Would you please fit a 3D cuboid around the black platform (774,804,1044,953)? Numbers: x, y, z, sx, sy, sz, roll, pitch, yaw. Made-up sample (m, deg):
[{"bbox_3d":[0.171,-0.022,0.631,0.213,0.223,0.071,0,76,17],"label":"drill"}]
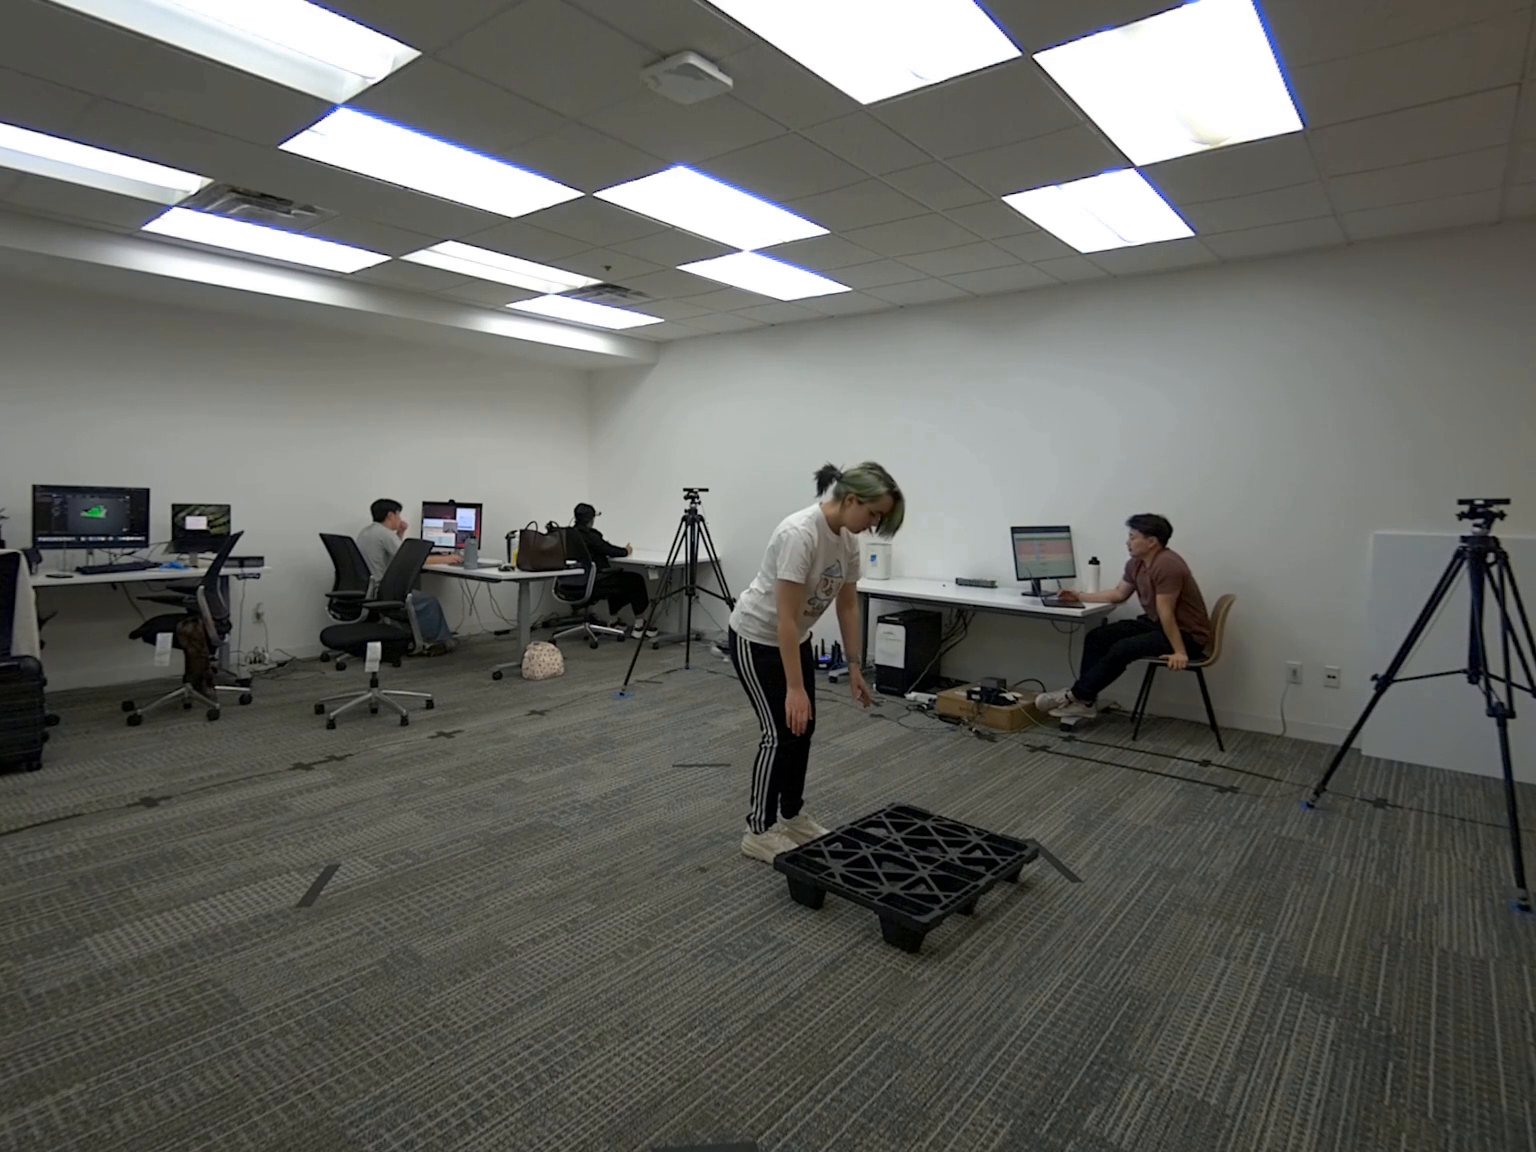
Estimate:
[{"bbox_3d":[0.480,1.034,2.984,0.626,0.143,0.781,6,7,42],"label":"black platform"}]
